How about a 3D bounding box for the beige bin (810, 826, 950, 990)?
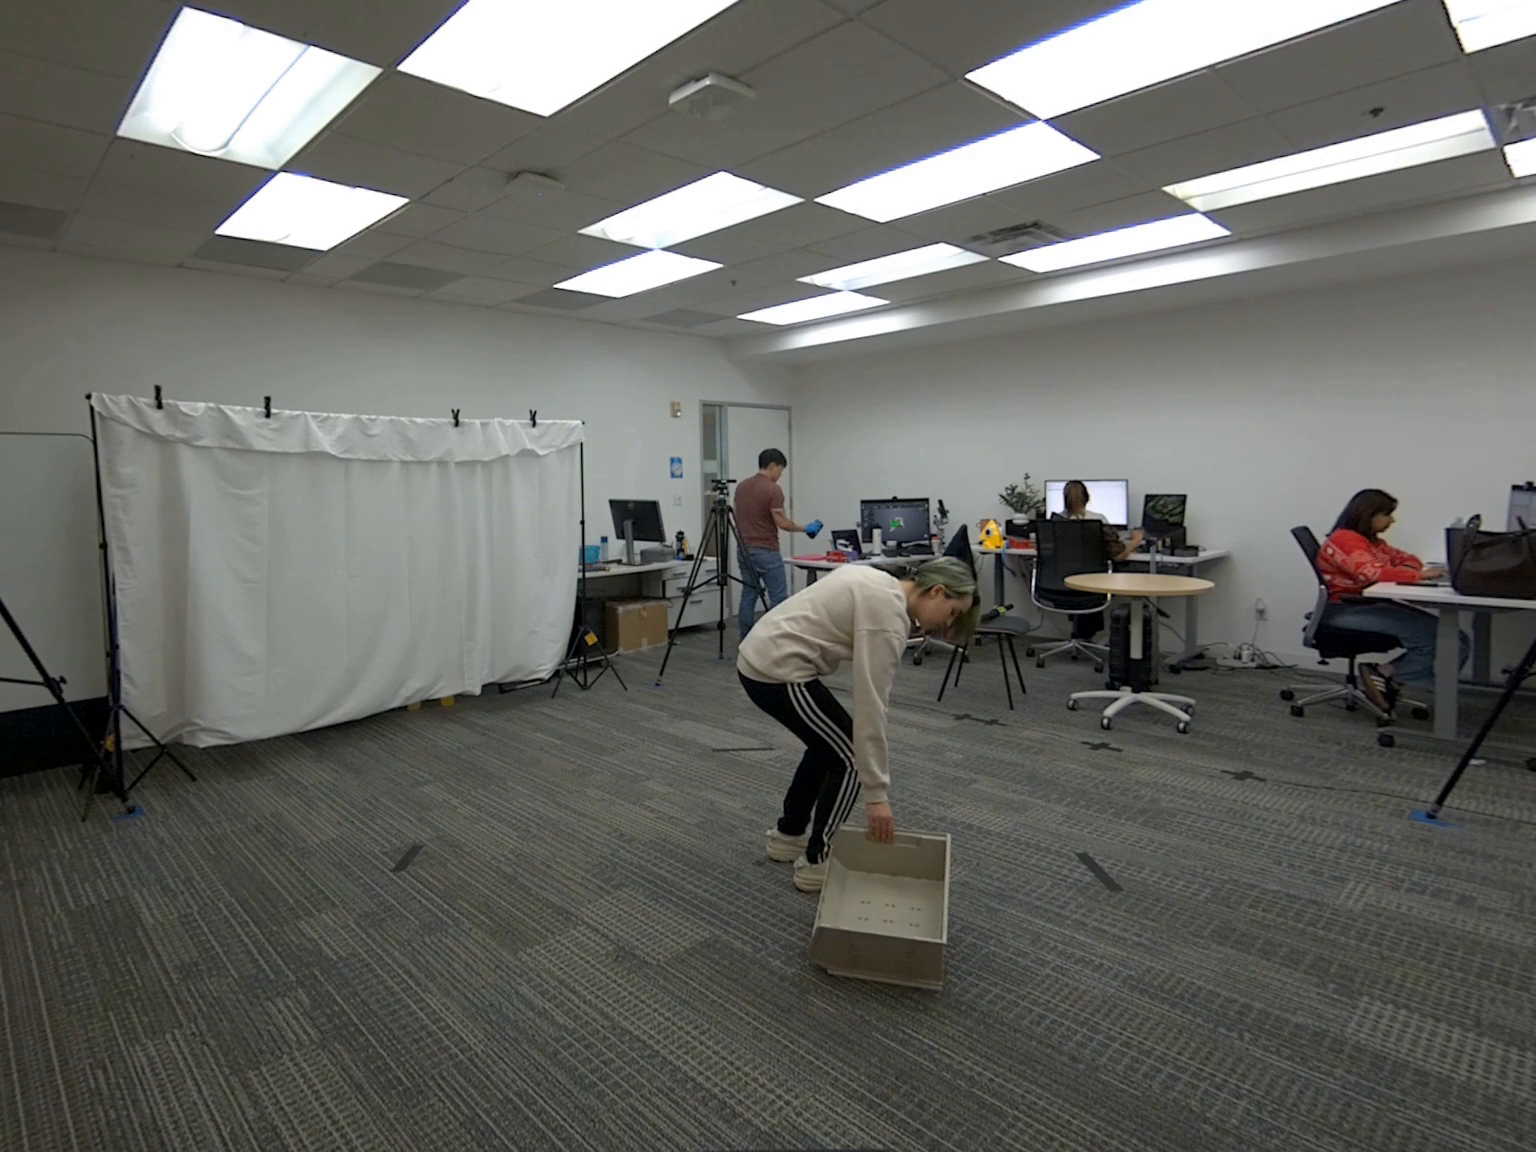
[{"bbox_3d":[0.345,0.959,2.518,0.383,0.185,0.425,1,24,14],"label":"beige bin"}]
